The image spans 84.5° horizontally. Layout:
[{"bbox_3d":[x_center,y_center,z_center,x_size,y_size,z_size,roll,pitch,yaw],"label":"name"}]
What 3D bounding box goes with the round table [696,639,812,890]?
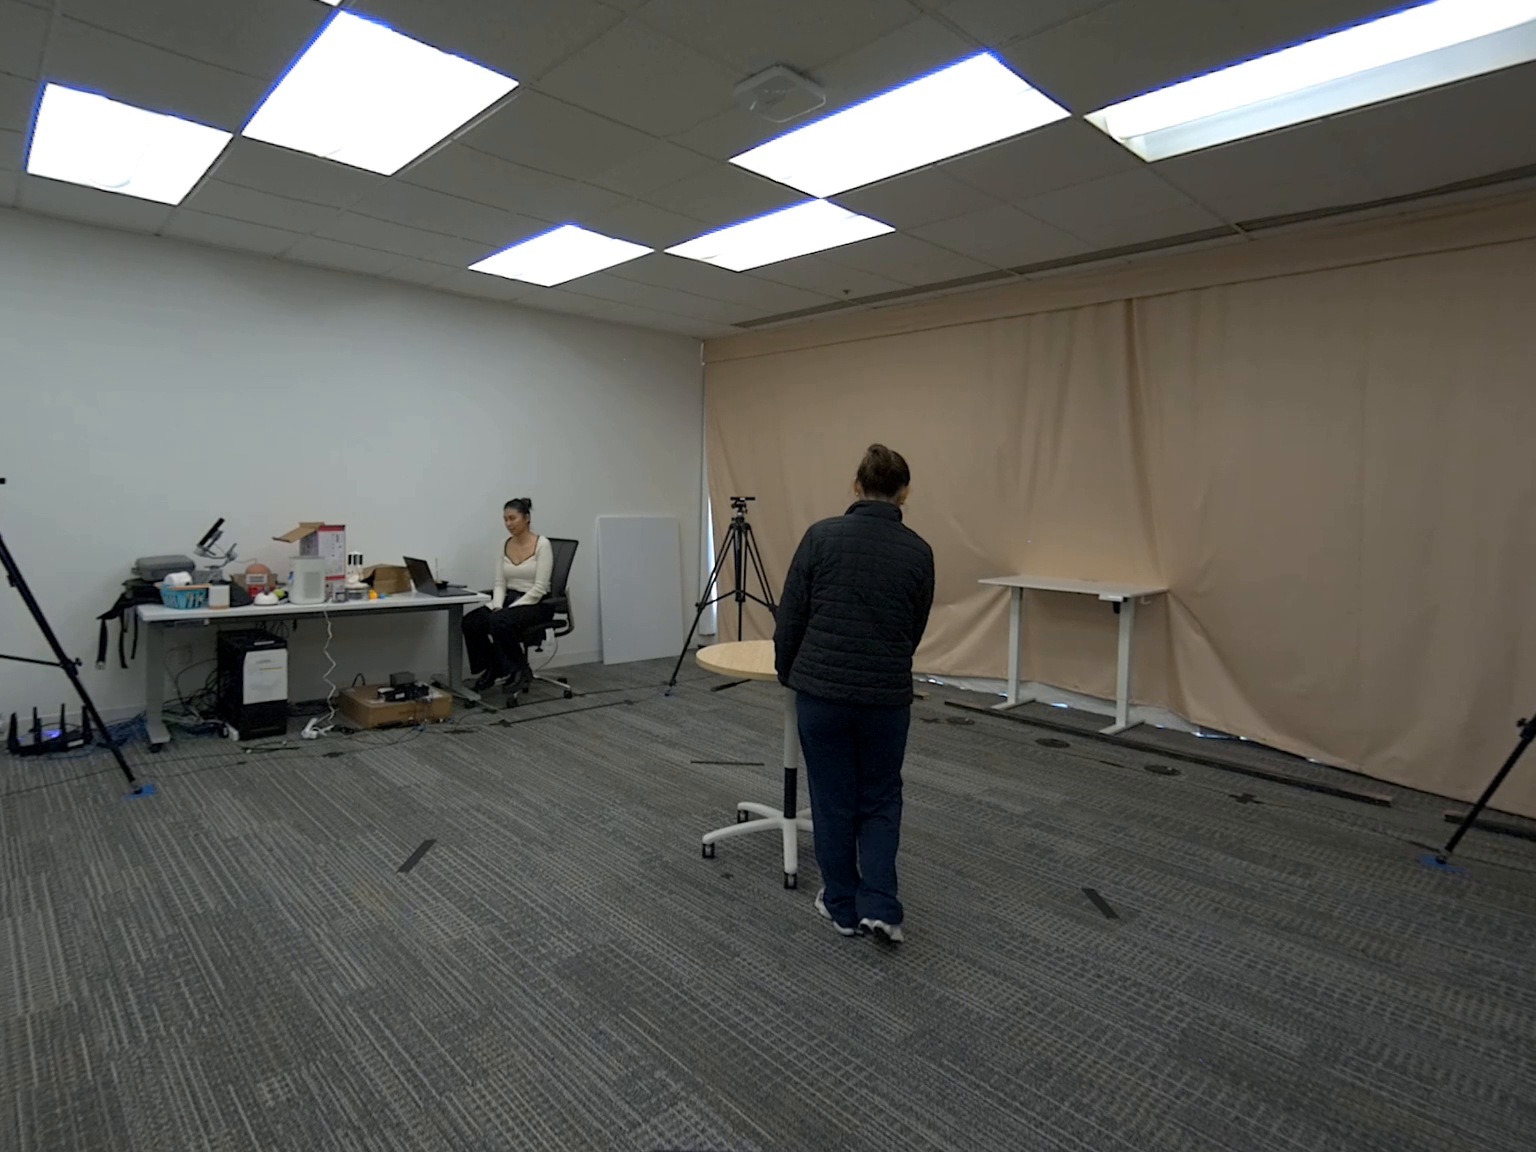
[{"bbox_3d":[0.084,0.703,3.296,0.784,0.785,0.787,1,3,-1],"label":"round table"}]
